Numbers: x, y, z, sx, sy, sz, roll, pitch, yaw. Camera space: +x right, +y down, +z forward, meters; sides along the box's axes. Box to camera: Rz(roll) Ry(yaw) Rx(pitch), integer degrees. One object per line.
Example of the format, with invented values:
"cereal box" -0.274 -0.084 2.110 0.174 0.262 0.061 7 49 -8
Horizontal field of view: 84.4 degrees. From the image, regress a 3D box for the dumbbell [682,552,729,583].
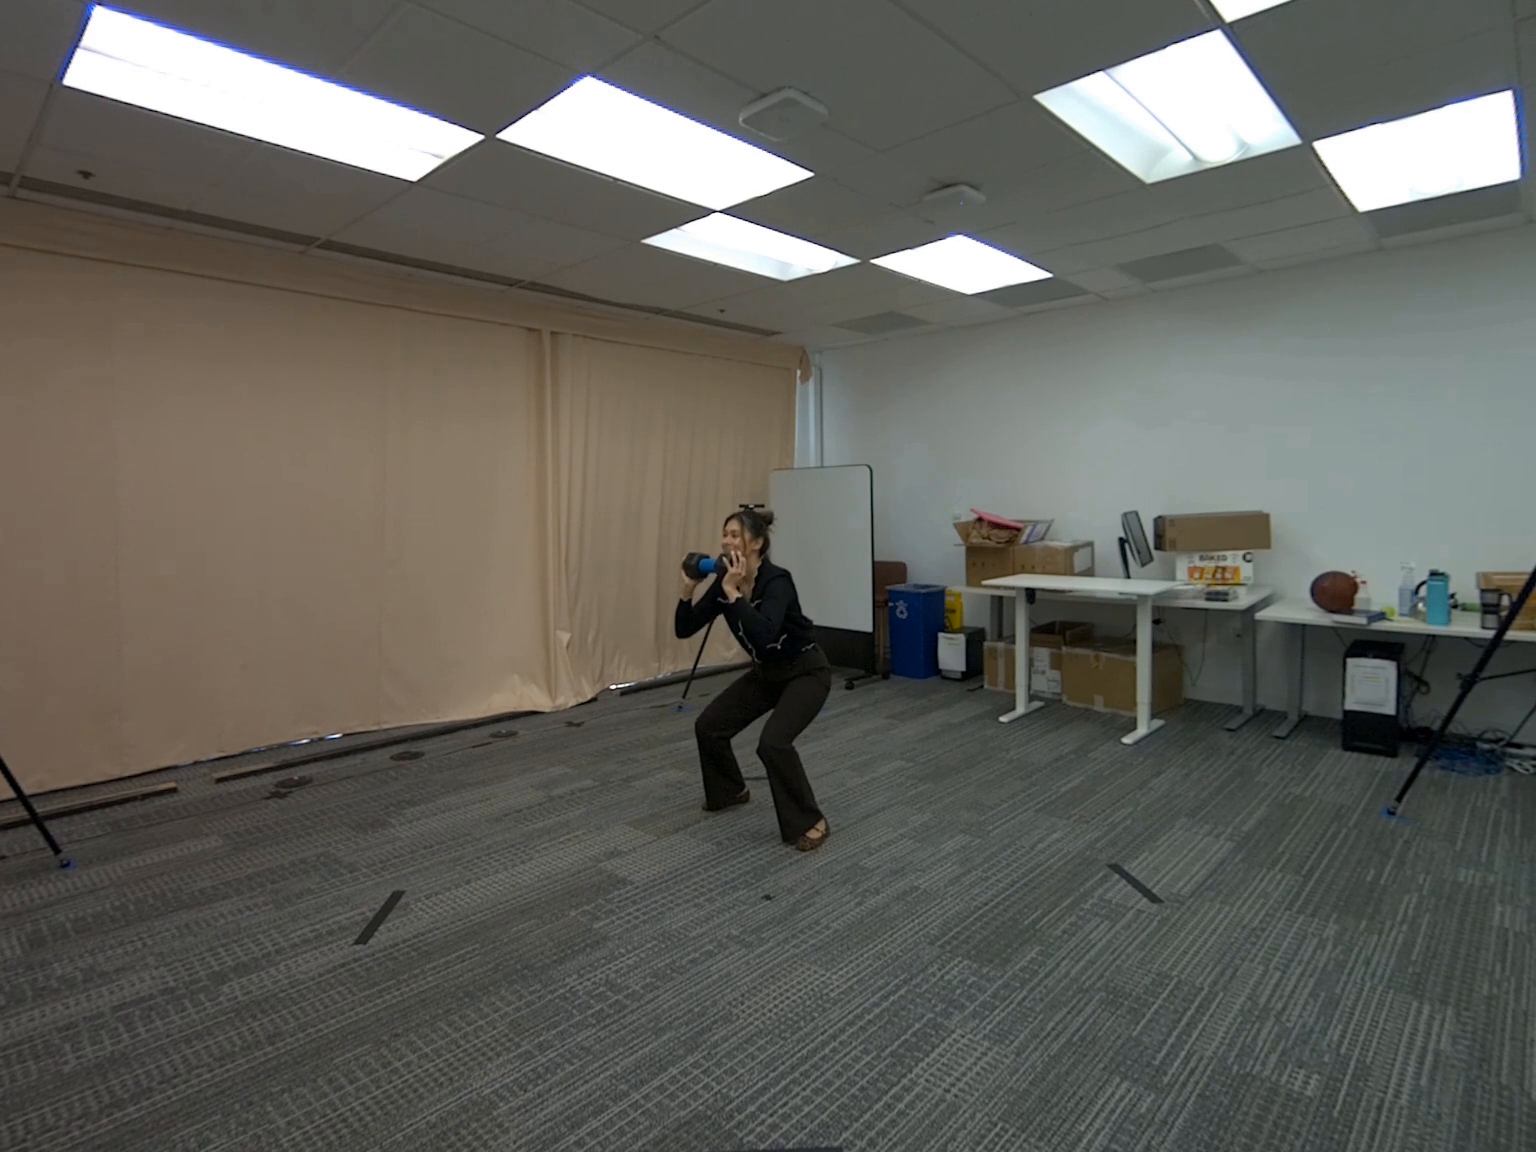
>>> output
"dumbbell" -0.227 -0.044 3.509 0.303 0.123 0.105 5 -35 50
